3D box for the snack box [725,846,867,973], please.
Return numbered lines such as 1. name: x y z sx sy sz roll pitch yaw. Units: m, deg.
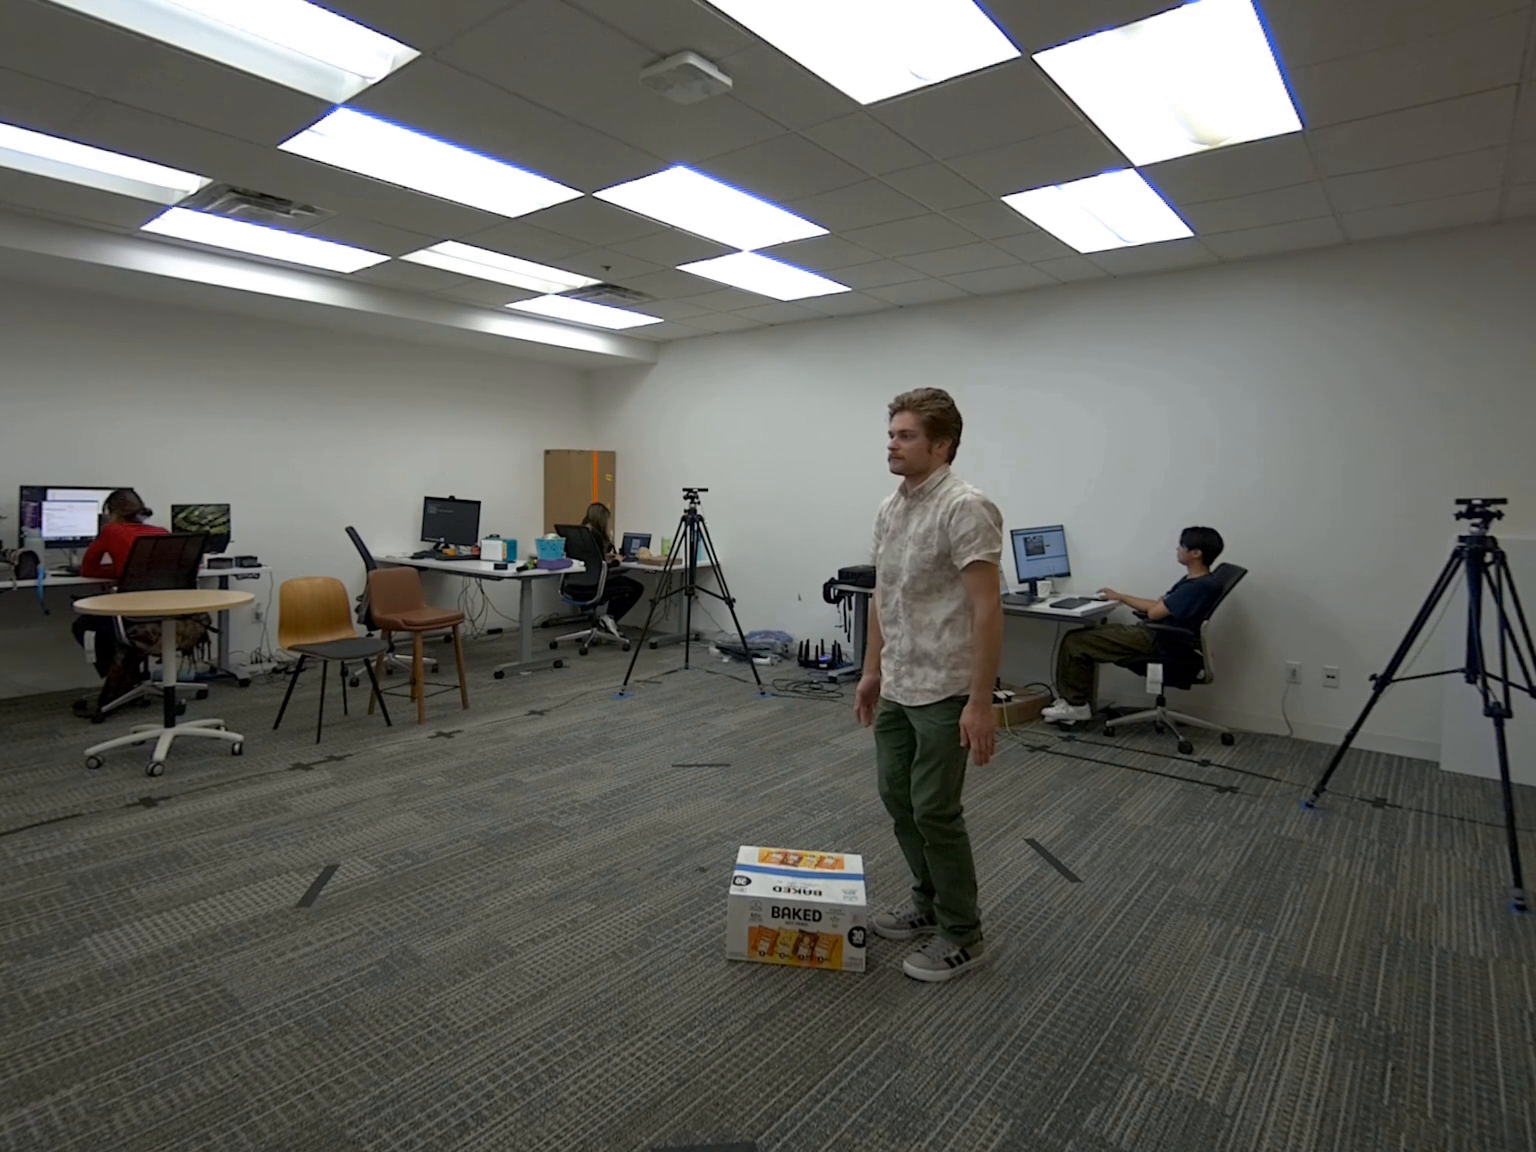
1. snack box: 0.090 1.017 2.638 0.408 0.205 0.339 2 5 5
